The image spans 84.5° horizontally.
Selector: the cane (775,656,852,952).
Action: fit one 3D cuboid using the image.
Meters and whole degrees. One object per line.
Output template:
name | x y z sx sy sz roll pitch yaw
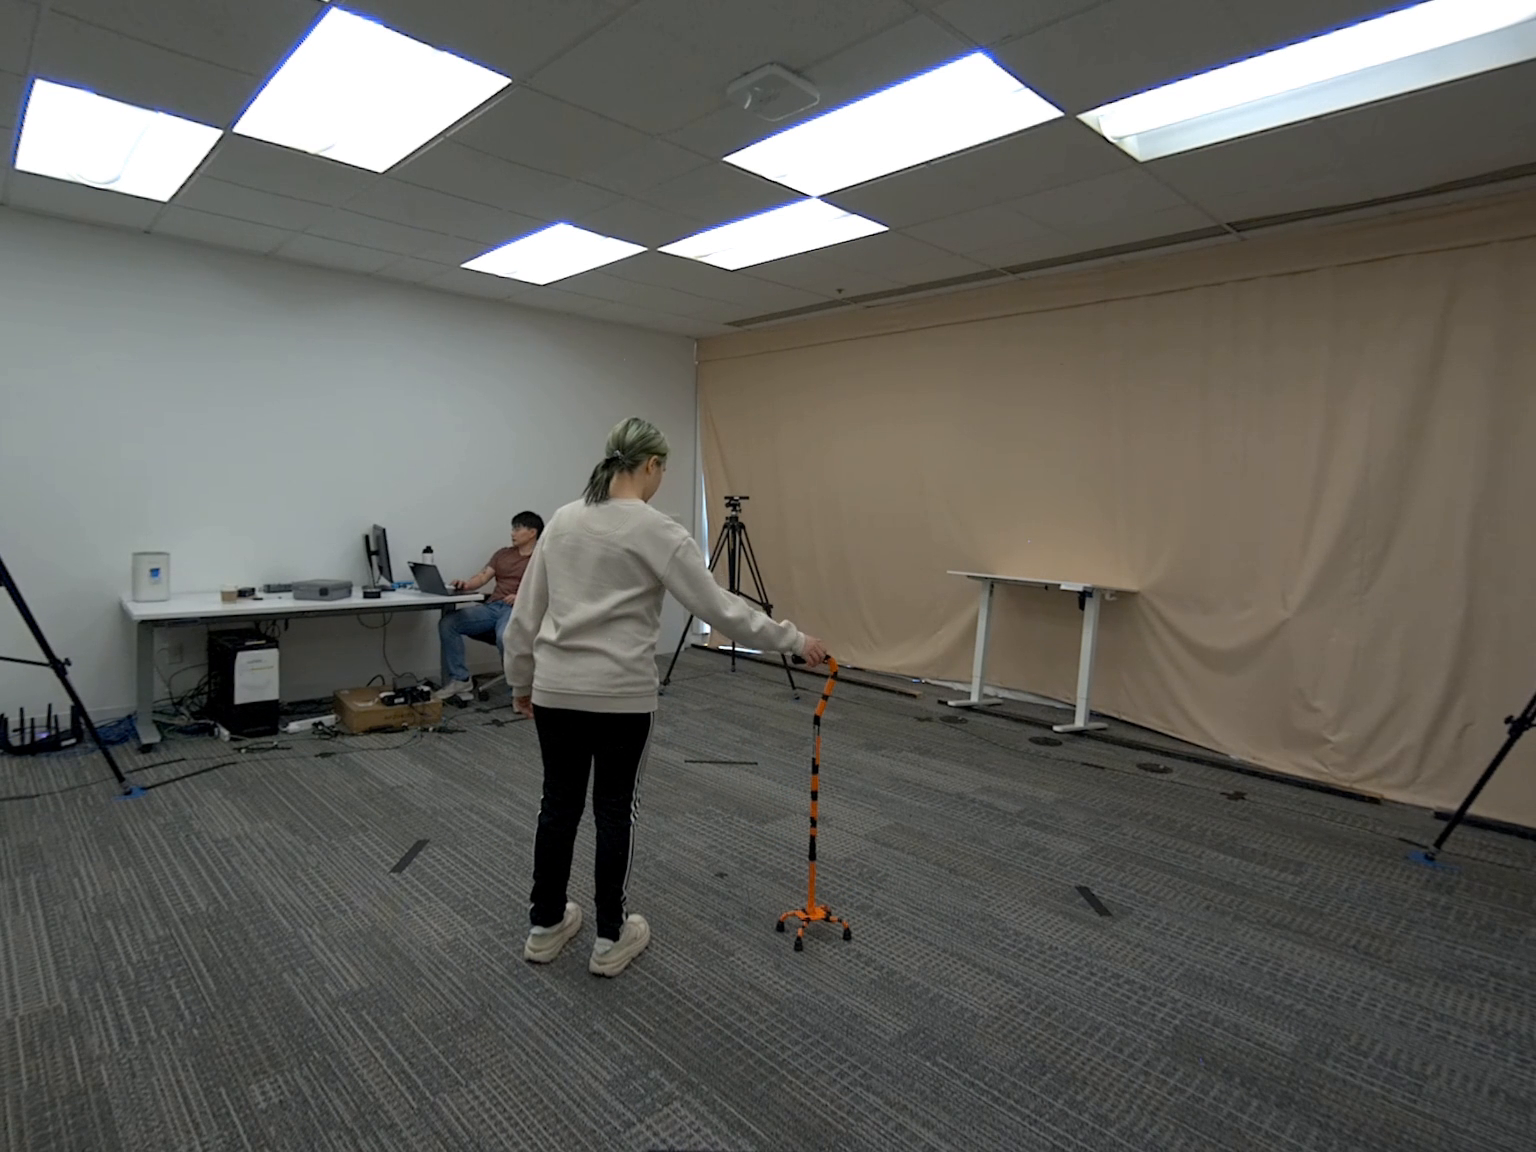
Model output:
cane | 0.150 0.698 2.662 0.203 0.906 0.155 0 3 -25
